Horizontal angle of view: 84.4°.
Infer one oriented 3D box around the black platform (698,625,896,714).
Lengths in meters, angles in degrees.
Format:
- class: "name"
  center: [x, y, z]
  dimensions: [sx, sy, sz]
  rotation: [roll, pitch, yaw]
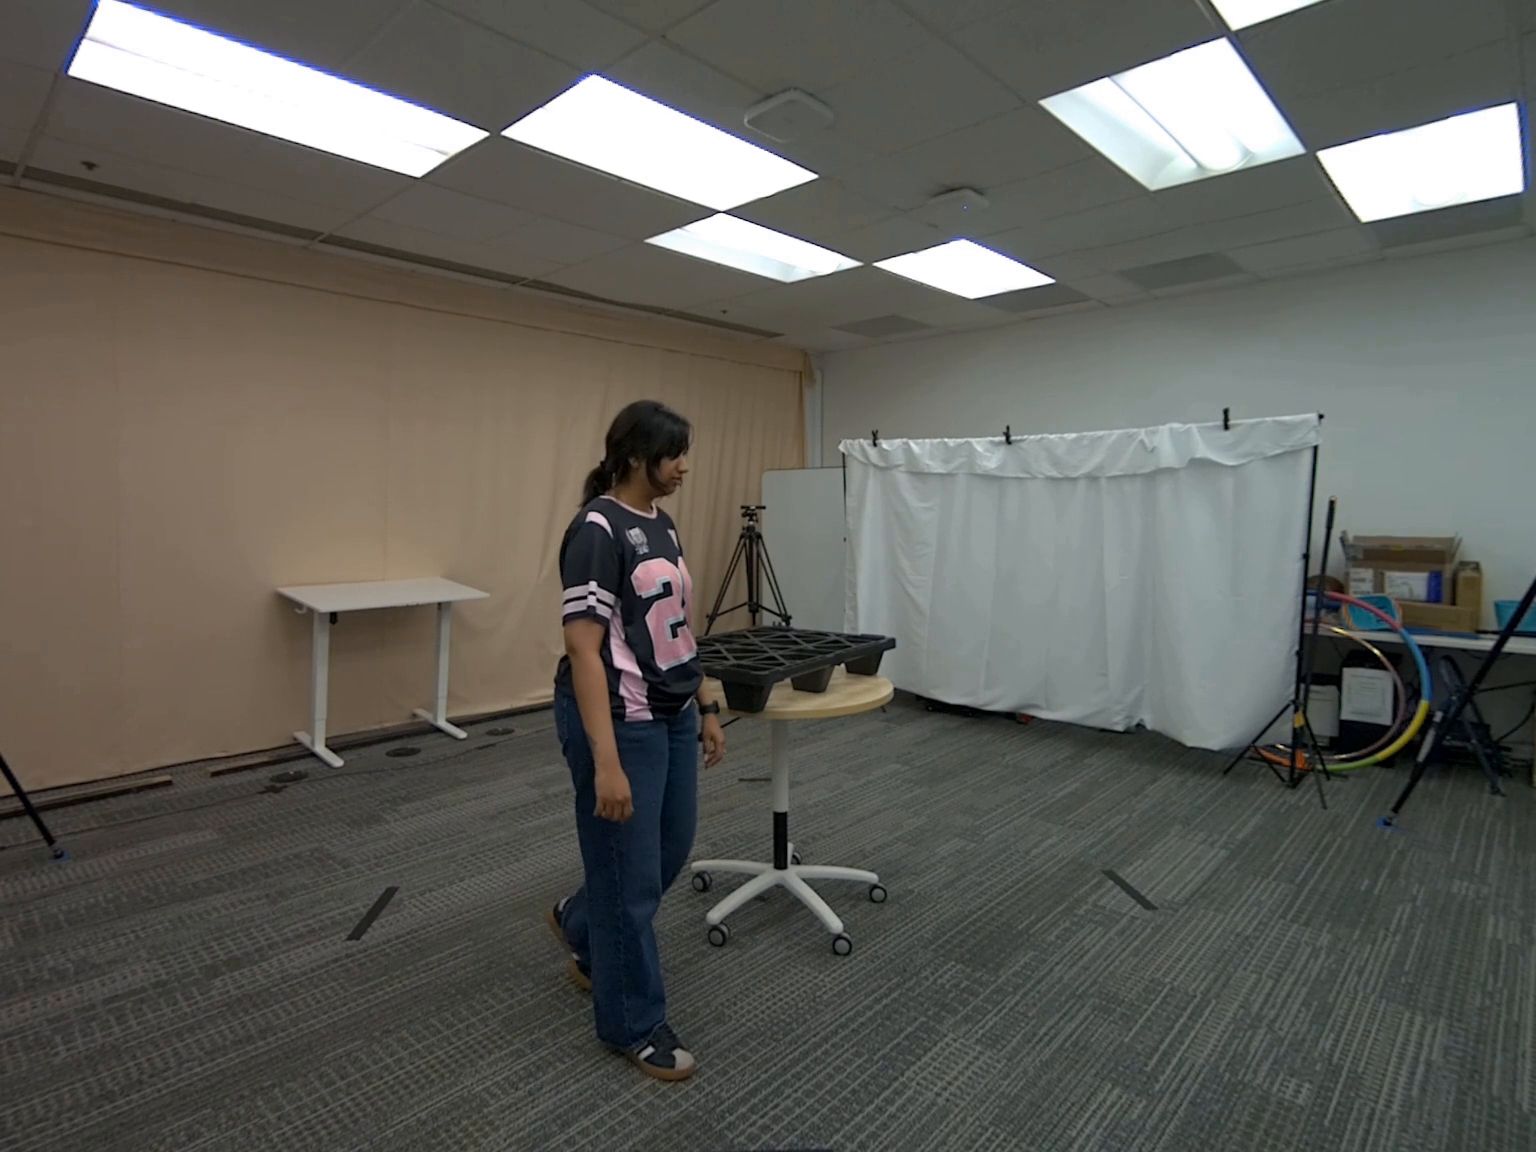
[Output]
- class: "black platform"
  center: [-0.021, 0.311, 2.875]
  dimensions: [0.625, 0.143, 0.782]
  rotation: [2, 6, 38]
